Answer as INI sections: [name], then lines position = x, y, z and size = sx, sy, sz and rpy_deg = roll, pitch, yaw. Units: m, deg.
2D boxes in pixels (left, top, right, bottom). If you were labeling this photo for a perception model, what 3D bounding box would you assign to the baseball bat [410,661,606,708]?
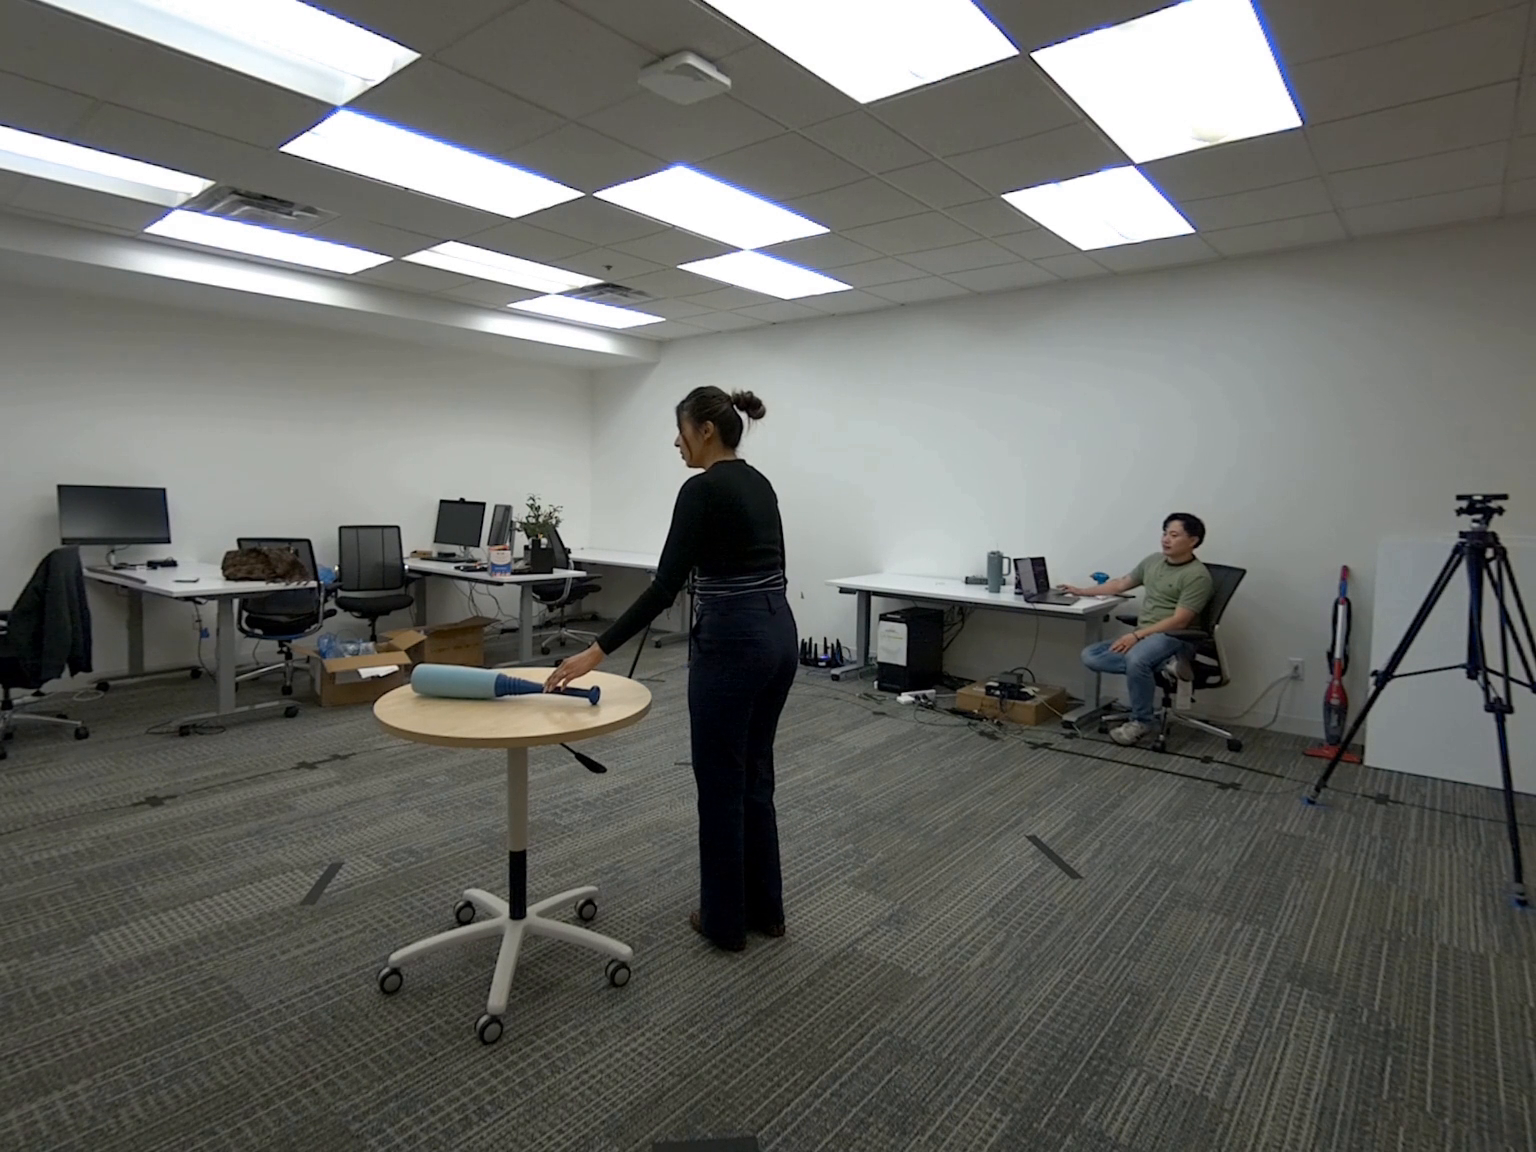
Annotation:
[baseball bat]
position = -0.740, 0.306, 2.396
size = 0.547, 0.089, 0.089
rpy_deg = 1, 4, 6
